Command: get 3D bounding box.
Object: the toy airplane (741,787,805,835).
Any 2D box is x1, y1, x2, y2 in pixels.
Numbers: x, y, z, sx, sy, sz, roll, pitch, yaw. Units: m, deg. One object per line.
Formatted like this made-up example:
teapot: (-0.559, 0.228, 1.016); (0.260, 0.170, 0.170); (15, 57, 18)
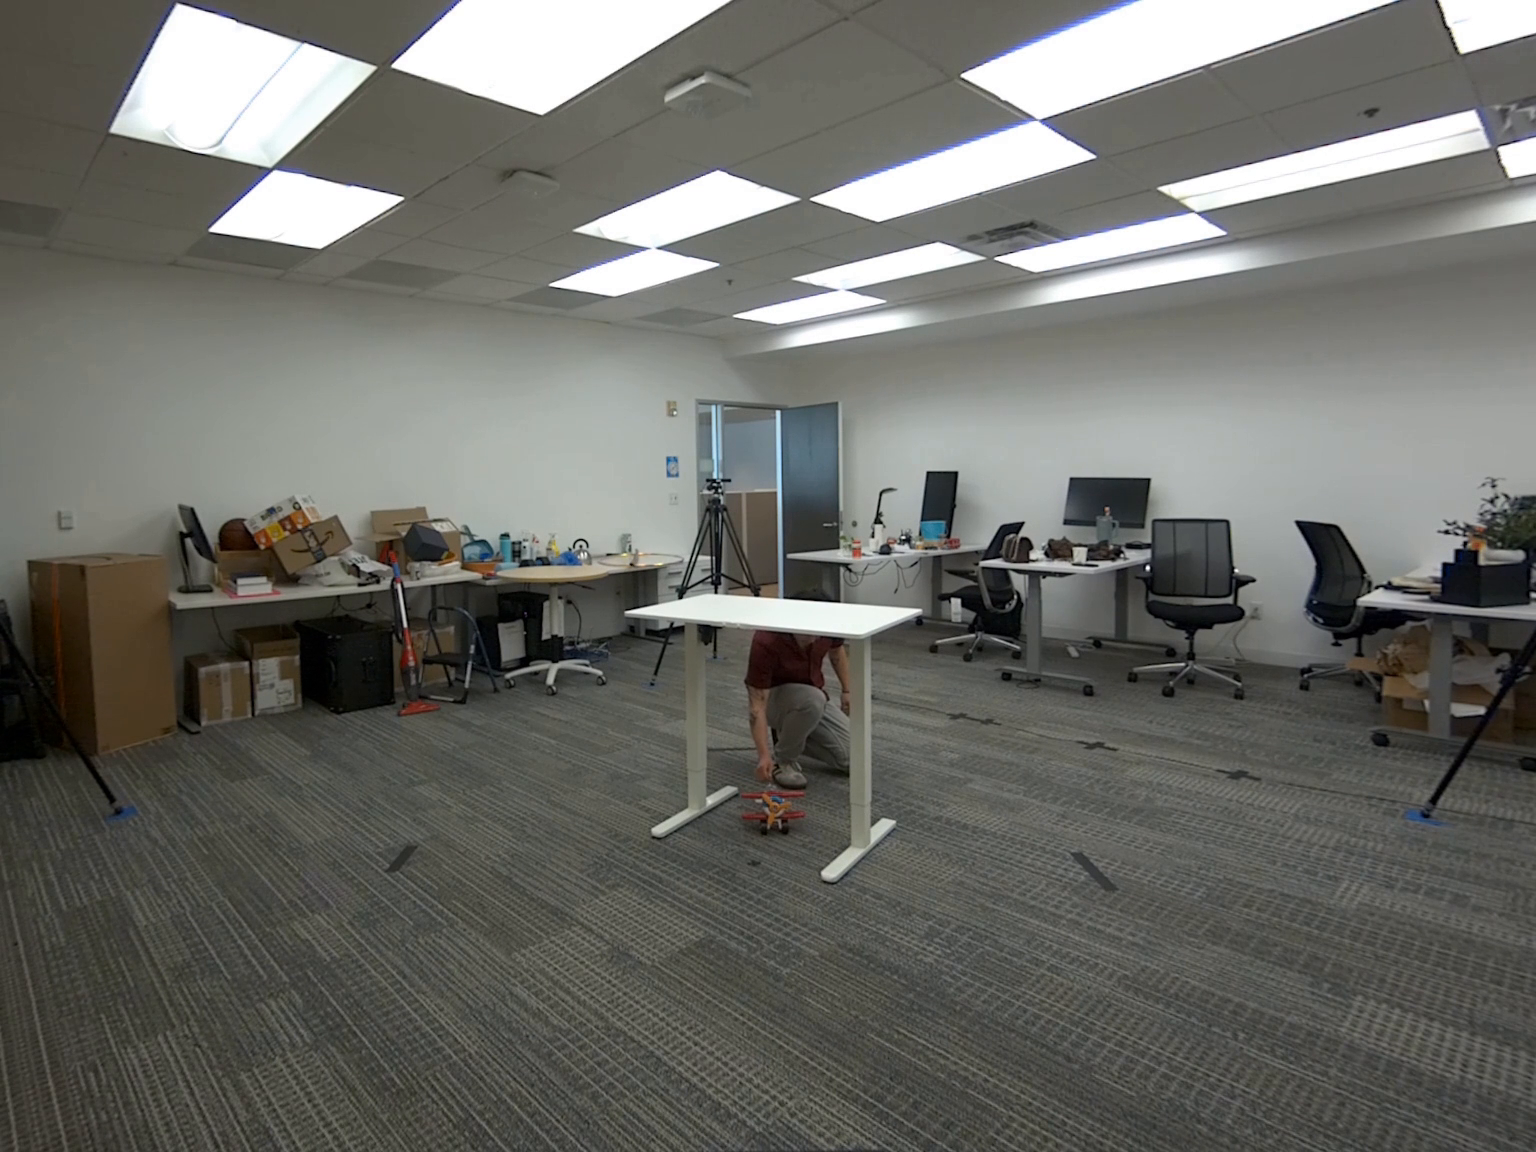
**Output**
toy airplane: (-0.004, 0.933, 3.445); (0.245, 0.155, 0.266); (-4, 7, -29)
